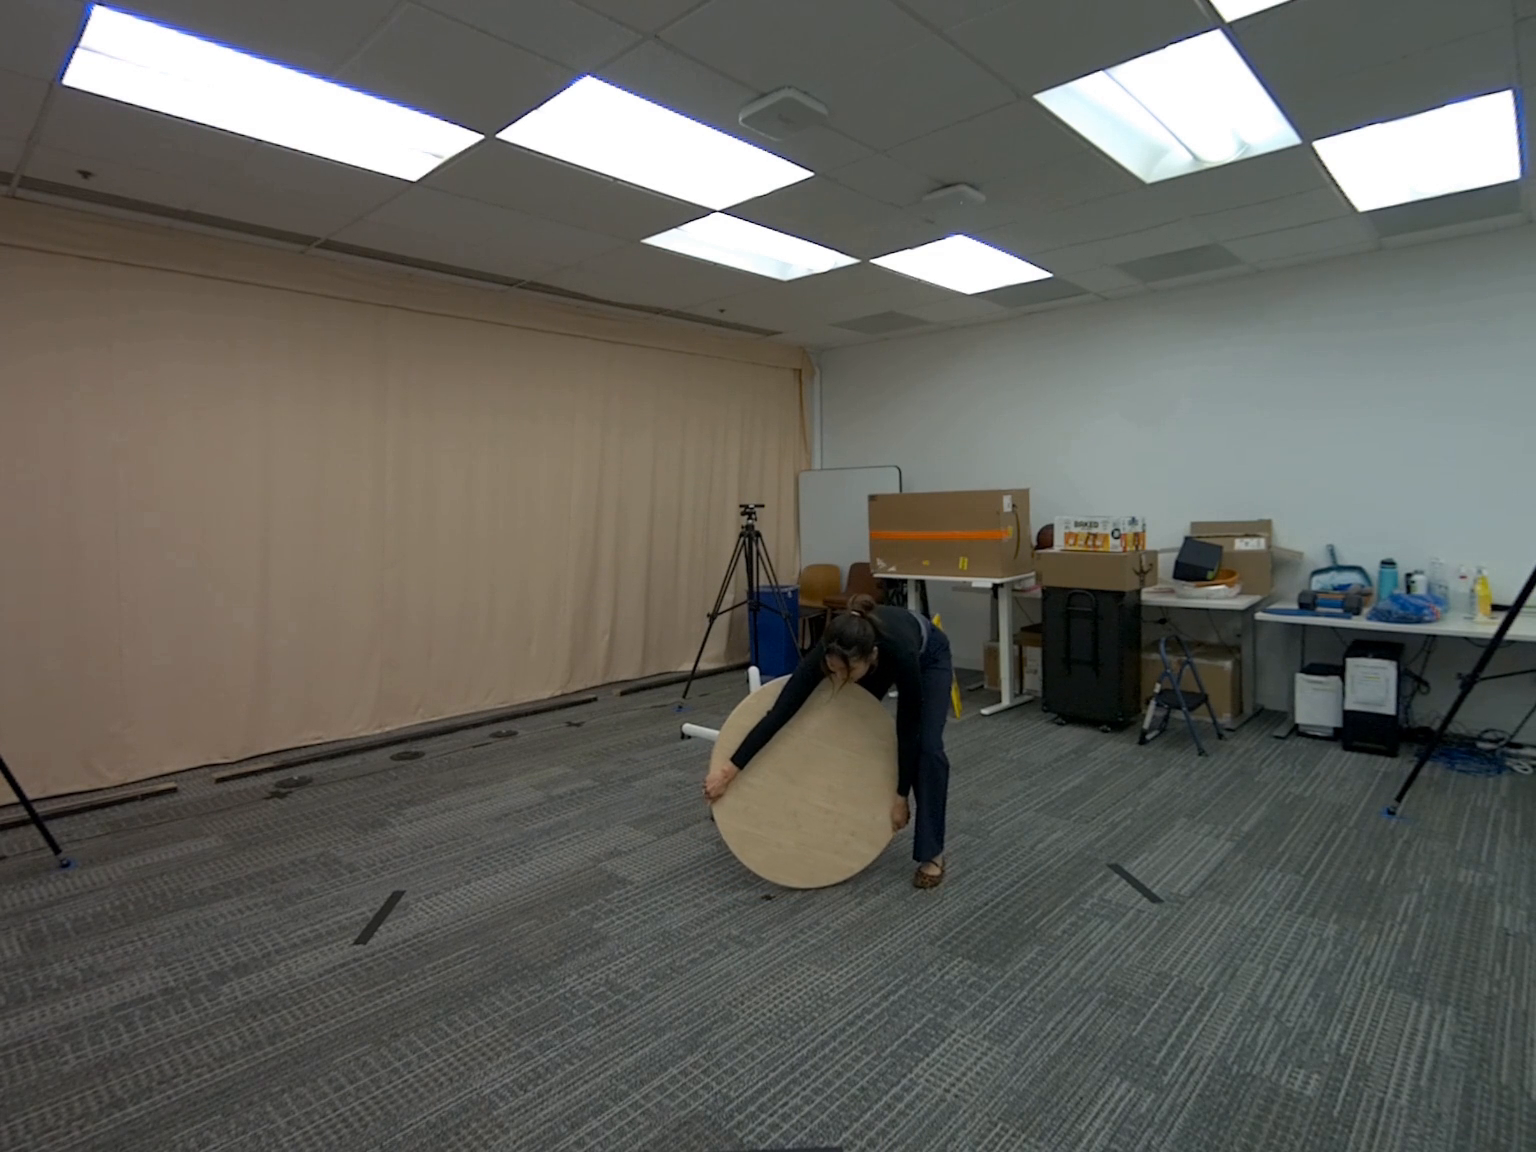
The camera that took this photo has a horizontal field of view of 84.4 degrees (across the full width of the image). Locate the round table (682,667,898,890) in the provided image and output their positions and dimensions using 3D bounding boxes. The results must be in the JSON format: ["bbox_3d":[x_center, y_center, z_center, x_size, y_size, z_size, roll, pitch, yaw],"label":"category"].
[{"bbox_3d":[0.044,0.753,3.444,0.753,0.765,0.804,-2,-3,-15],"label":"round table"}]
